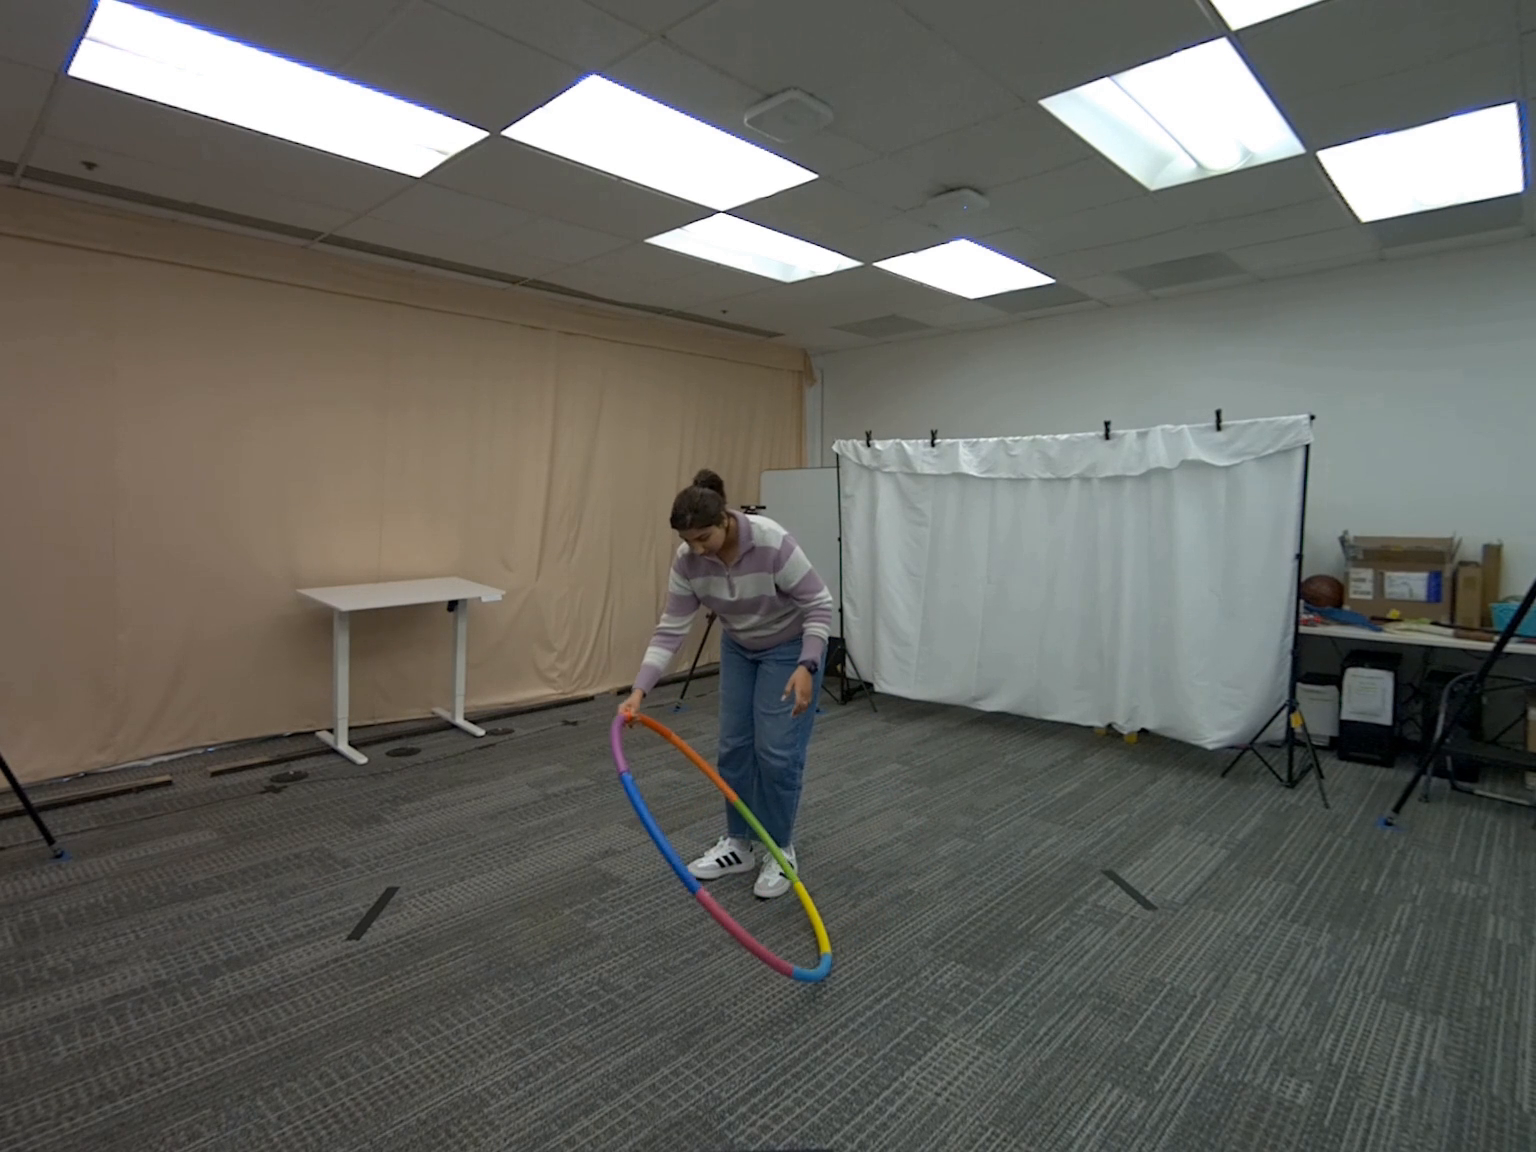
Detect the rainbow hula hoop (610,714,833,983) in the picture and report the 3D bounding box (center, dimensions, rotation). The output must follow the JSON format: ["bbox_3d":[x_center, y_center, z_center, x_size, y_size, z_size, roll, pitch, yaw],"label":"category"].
[{"bbox_3d":[-0.137,0.809,2.620,0.052,0.984,0.986,-43,2,3],"label":"rainbow hula hoop"}]
